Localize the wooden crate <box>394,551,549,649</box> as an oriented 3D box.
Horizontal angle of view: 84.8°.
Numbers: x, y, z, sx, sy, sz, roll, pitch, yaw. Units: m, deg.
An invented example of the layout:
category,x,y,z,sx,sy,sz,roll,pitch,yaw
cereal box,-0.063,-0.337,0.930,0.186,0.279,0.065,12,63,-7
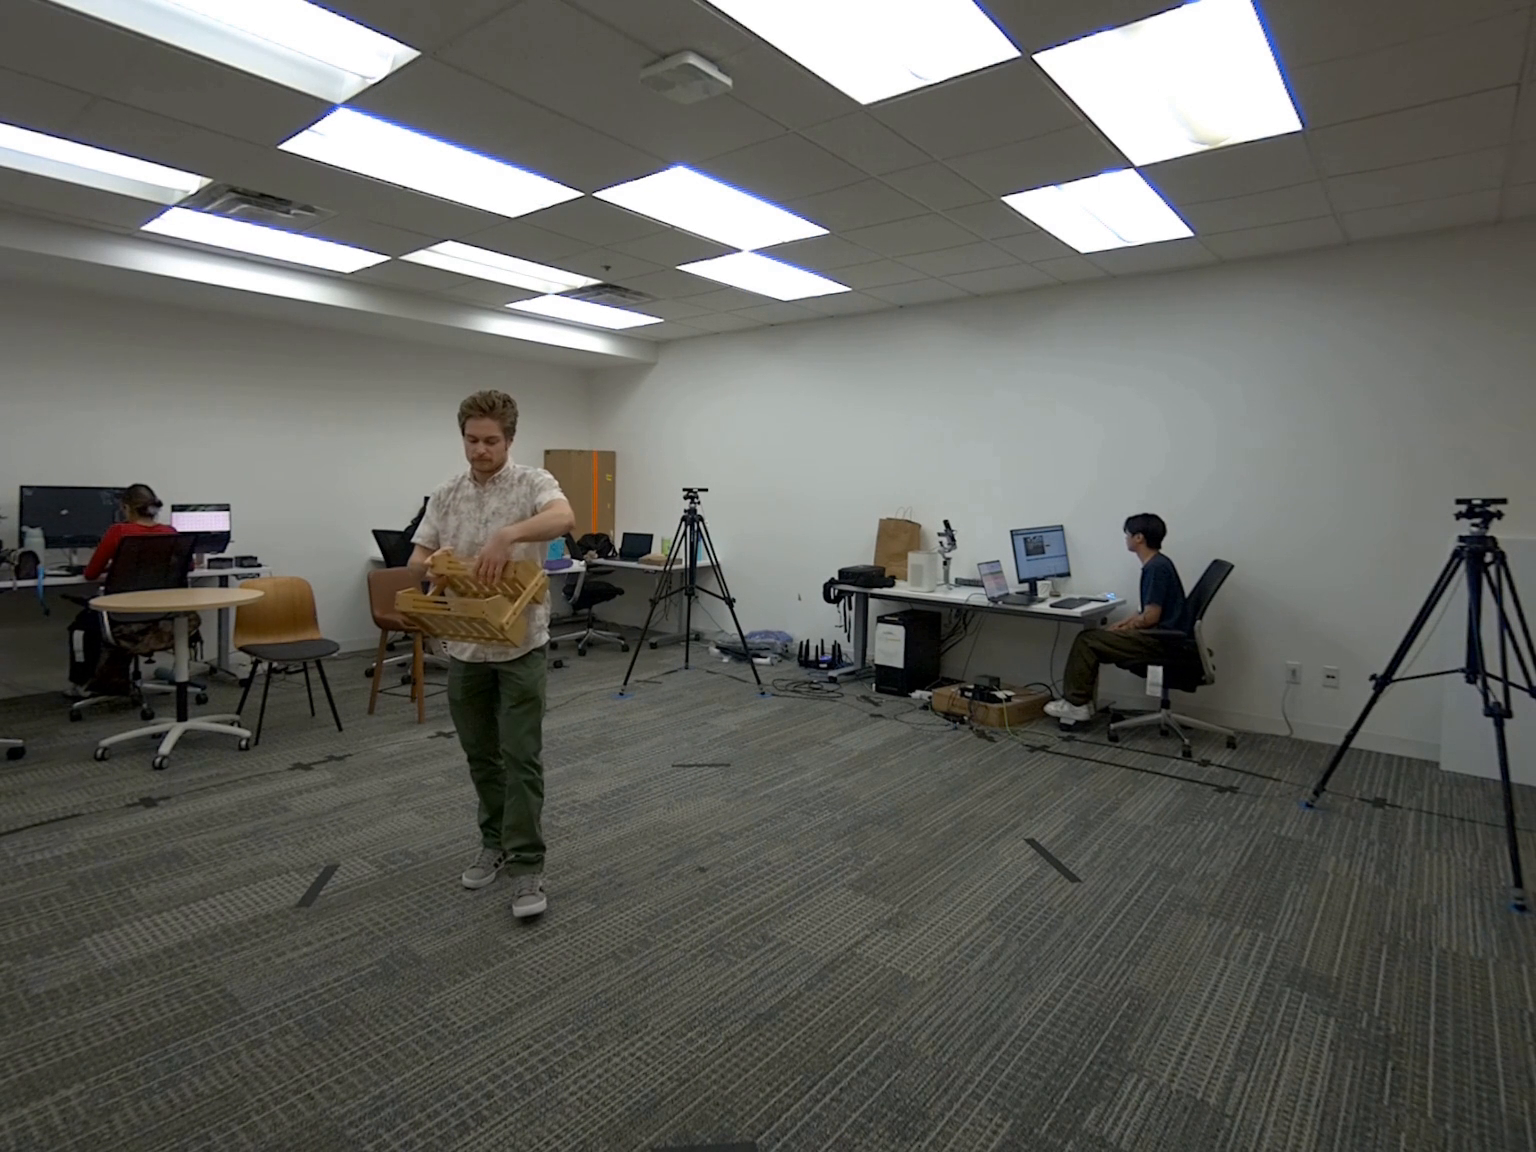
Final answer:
category,x,y,z,sx,sy,sz,roll,pitch,yaw
wooden crate,-0.906,0.046,2.587,0.330,0.278,0.291,4,-26,16
